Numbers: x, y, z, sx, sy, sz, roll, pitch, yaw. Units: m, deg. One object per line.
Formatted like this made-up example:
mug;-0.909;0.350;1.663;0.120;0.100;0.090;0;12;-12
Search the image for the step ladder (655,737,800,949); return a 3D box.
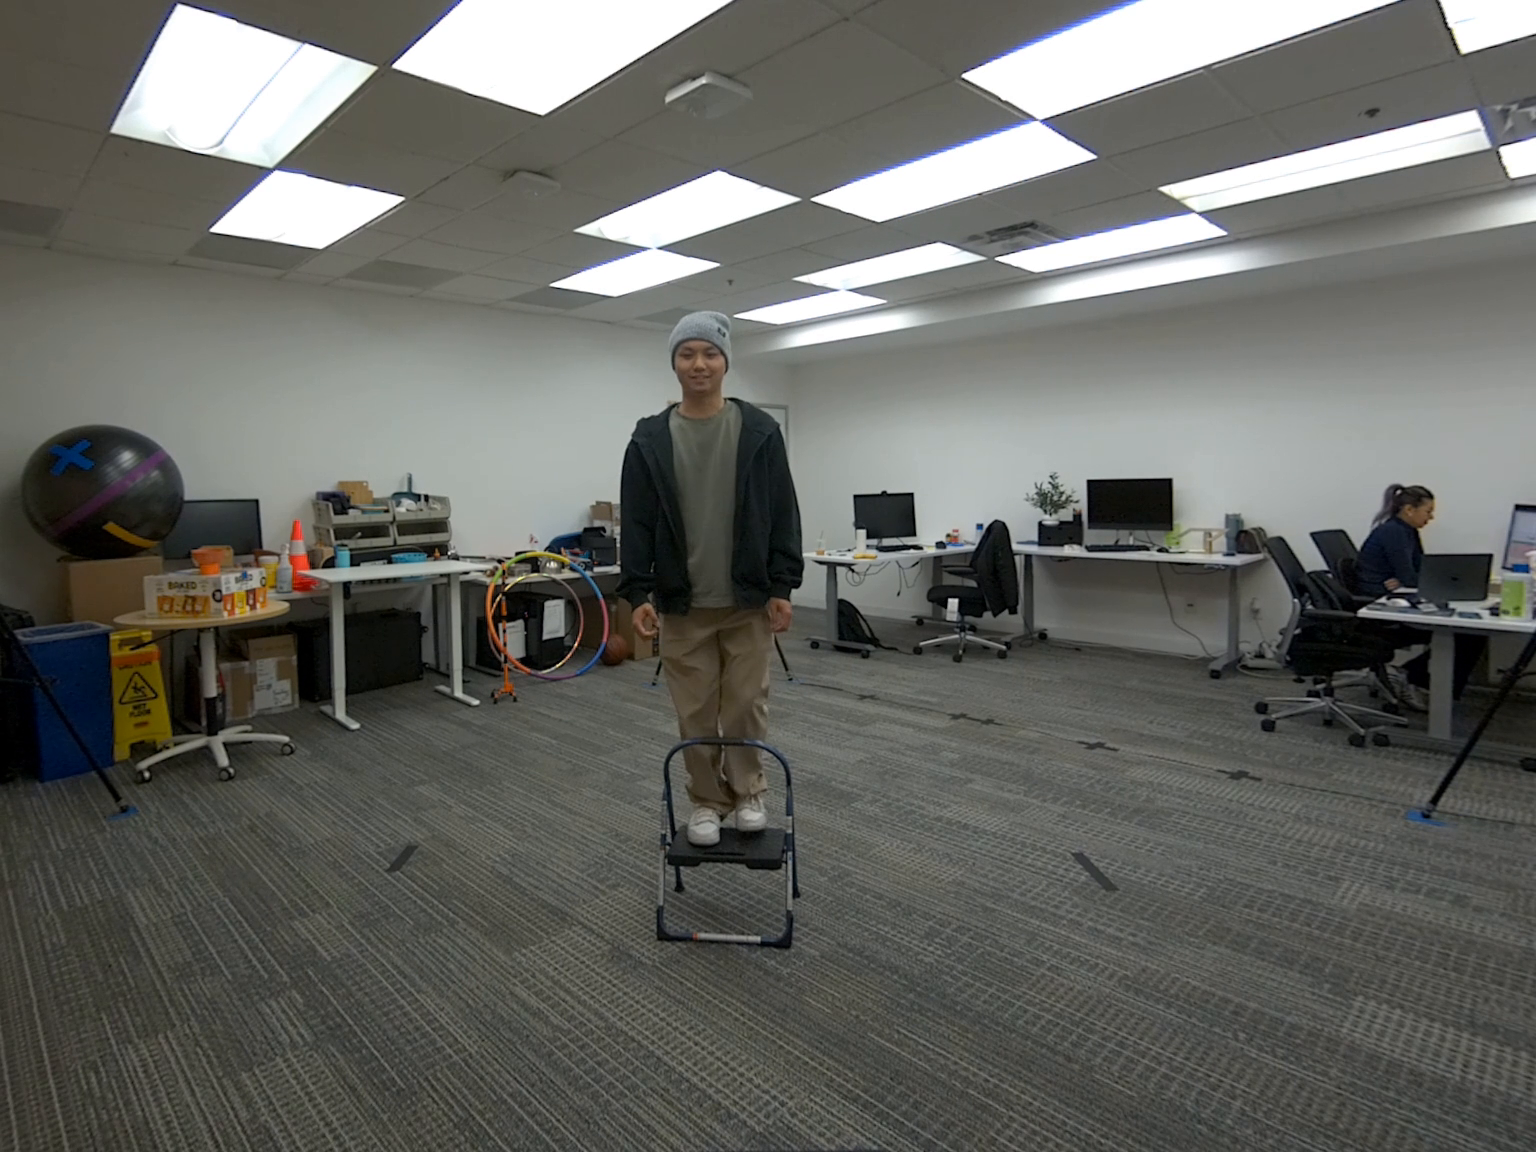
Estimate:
step ladder;-0.121;0.795;2.716;0.434;0.604;0.348;-1;4;6
